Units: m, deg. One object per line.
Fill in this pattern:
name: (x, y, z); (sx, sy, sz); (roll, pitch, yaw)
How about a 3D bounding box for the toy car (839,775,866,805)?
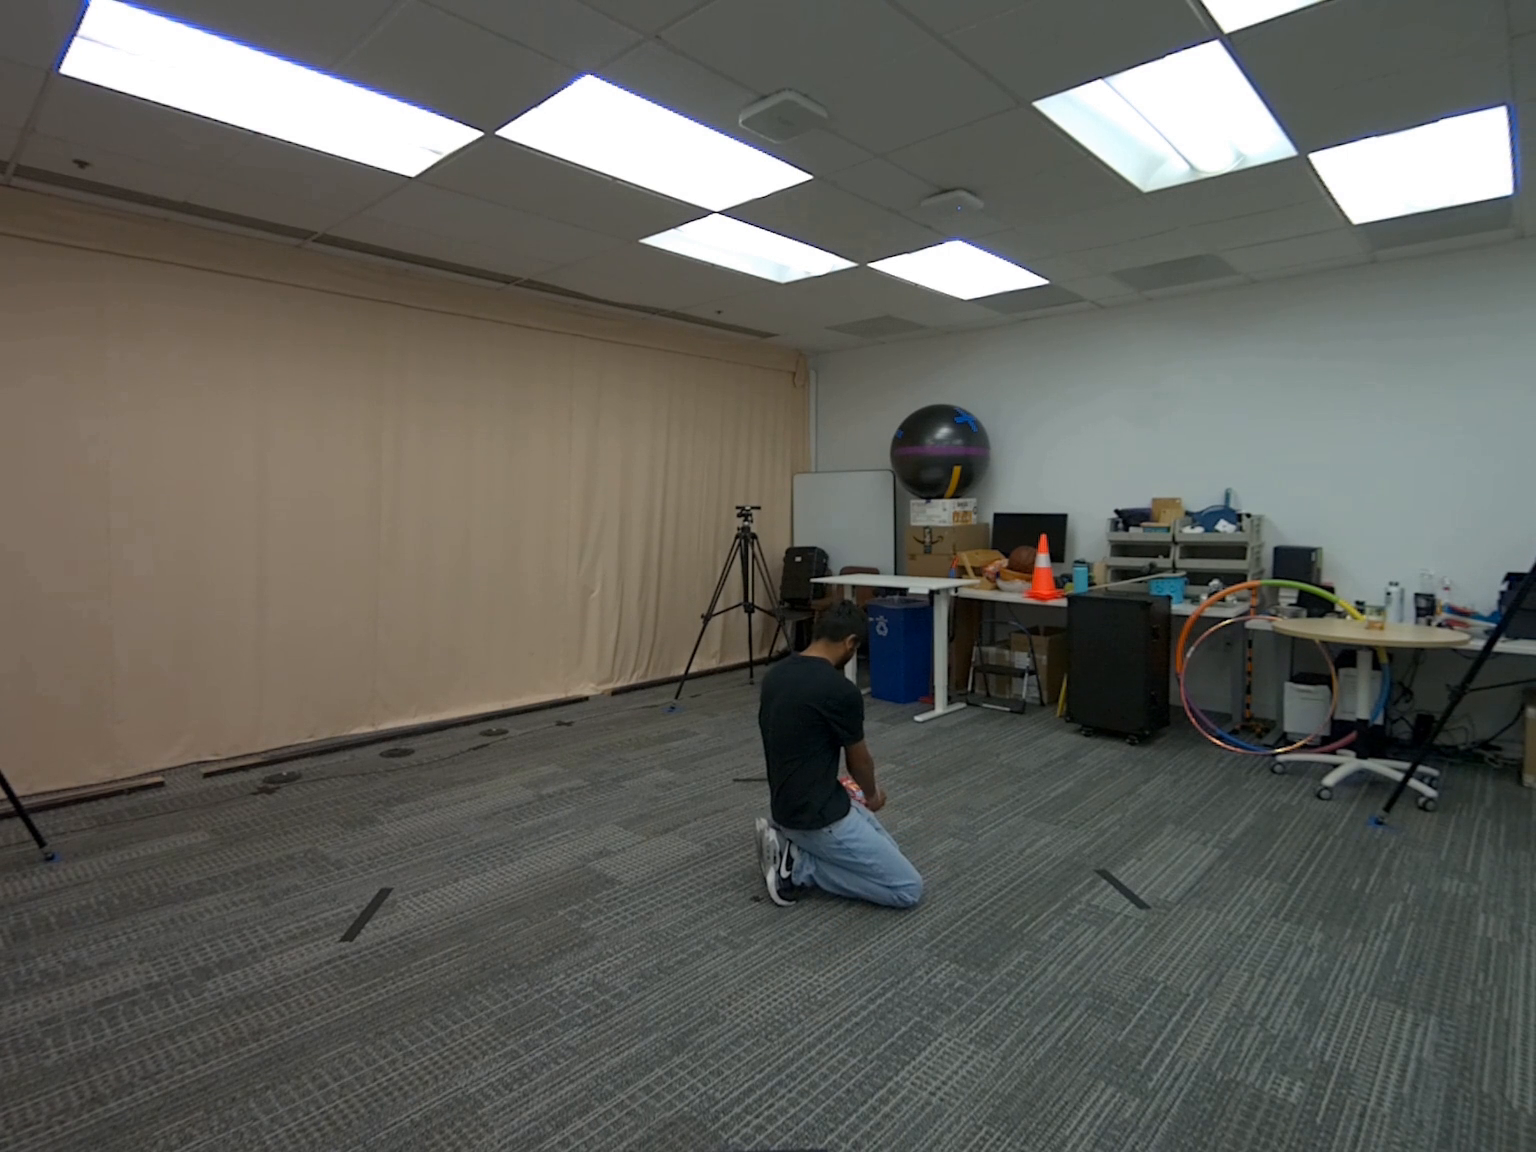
toy car: (0.373, 0.906, 3.488); (0.127, 0.082, 0.263); (-11, 21, -30)
